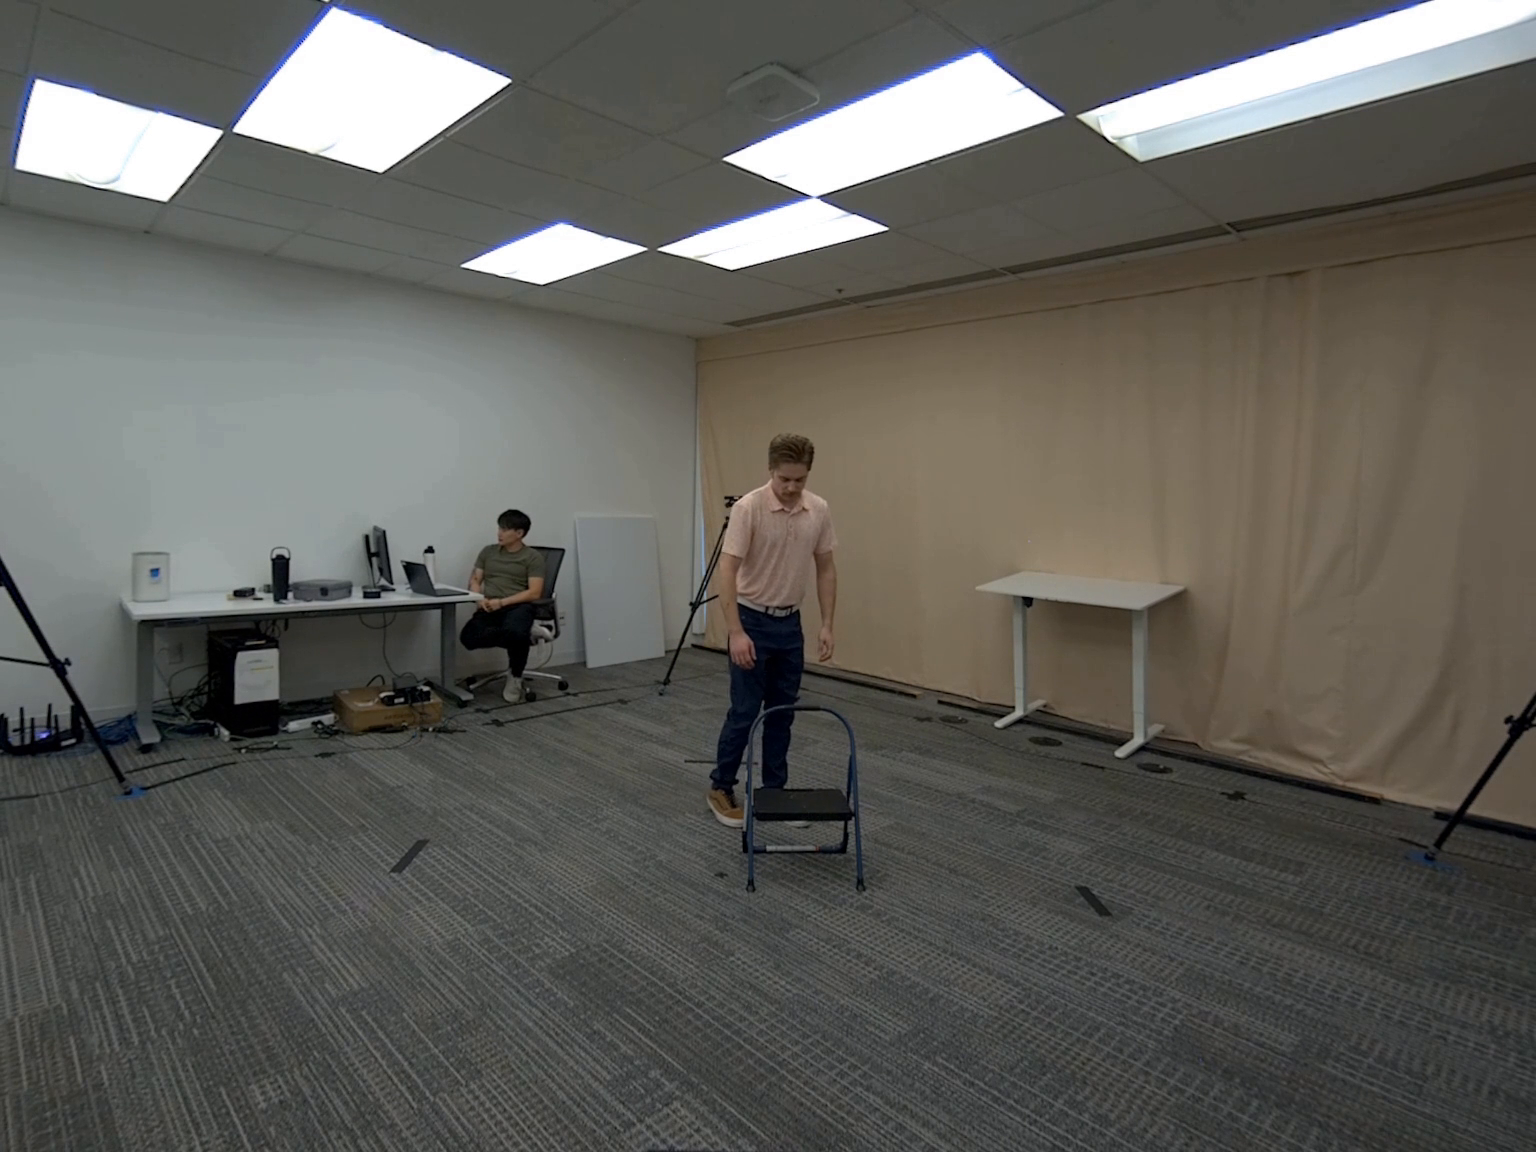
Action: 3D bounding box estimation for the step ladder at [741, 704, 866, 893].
[{"bbox_3d":[0.125,0.813,3.148,0.429,0.603,0.352,1,6,-6],"label":"step ladder"}]
